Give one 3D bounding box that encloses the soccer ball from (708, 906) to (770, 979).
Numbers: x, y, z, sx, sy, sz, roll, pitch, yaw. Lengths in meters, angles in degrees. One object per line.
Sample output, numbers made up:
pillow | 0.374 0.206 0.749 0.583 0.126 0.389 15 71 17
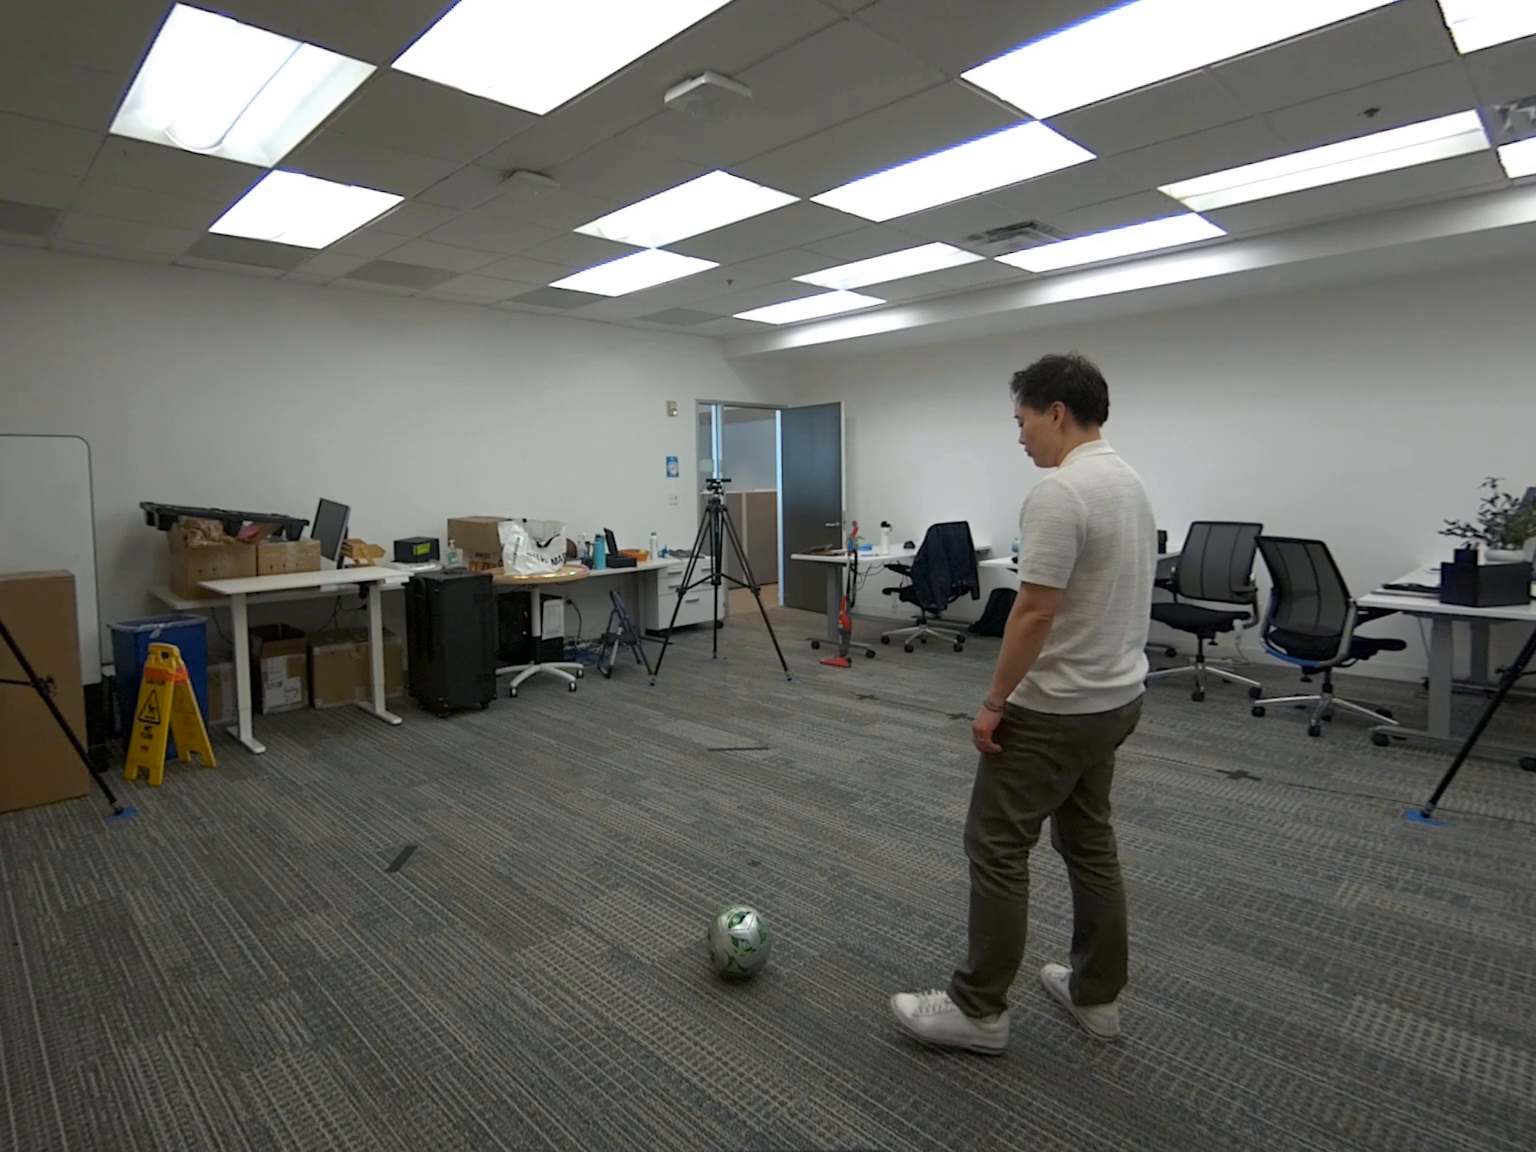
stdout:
soccer ball | -0.079 1.033 2.416 0.187 0.187 0.188 -1 5 -2
